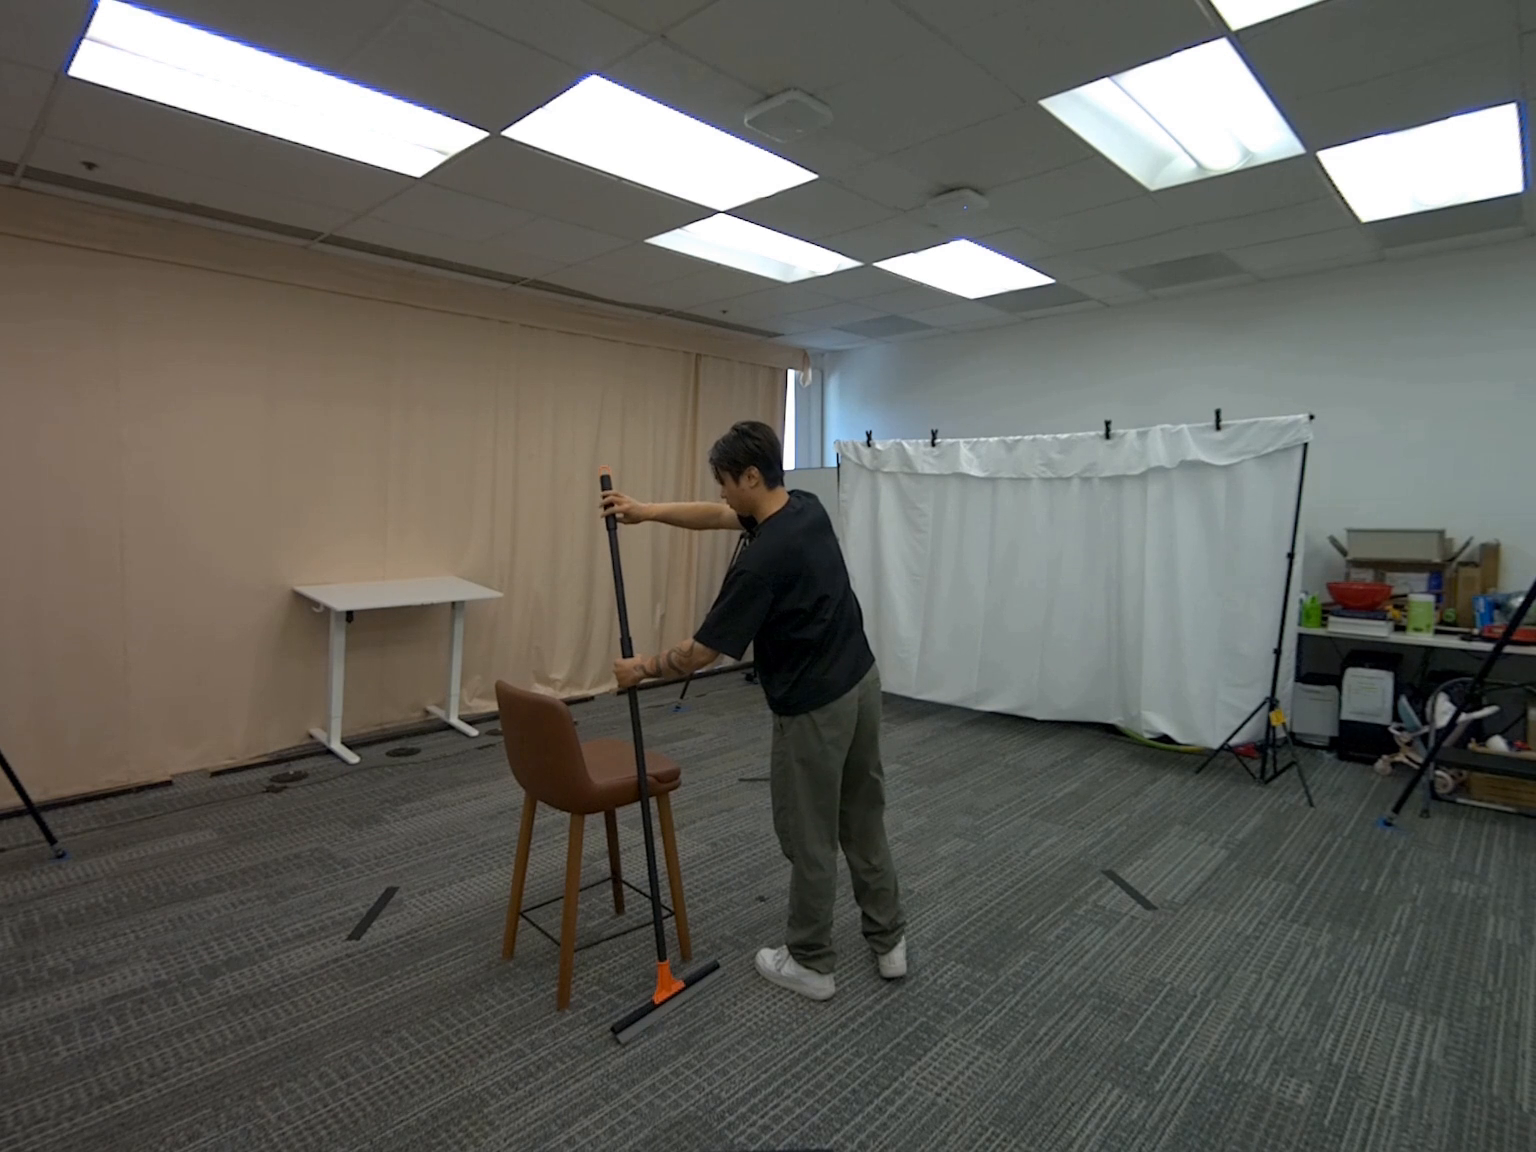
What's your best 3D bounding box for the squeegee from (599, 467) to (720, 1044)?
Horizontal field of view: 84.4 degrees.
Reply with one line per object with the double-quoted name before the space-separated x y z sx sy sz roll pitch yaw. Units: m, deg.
"squeegee" -0.380 0.429 2.426 0.054 1.541 0.424 -10 -4 40
